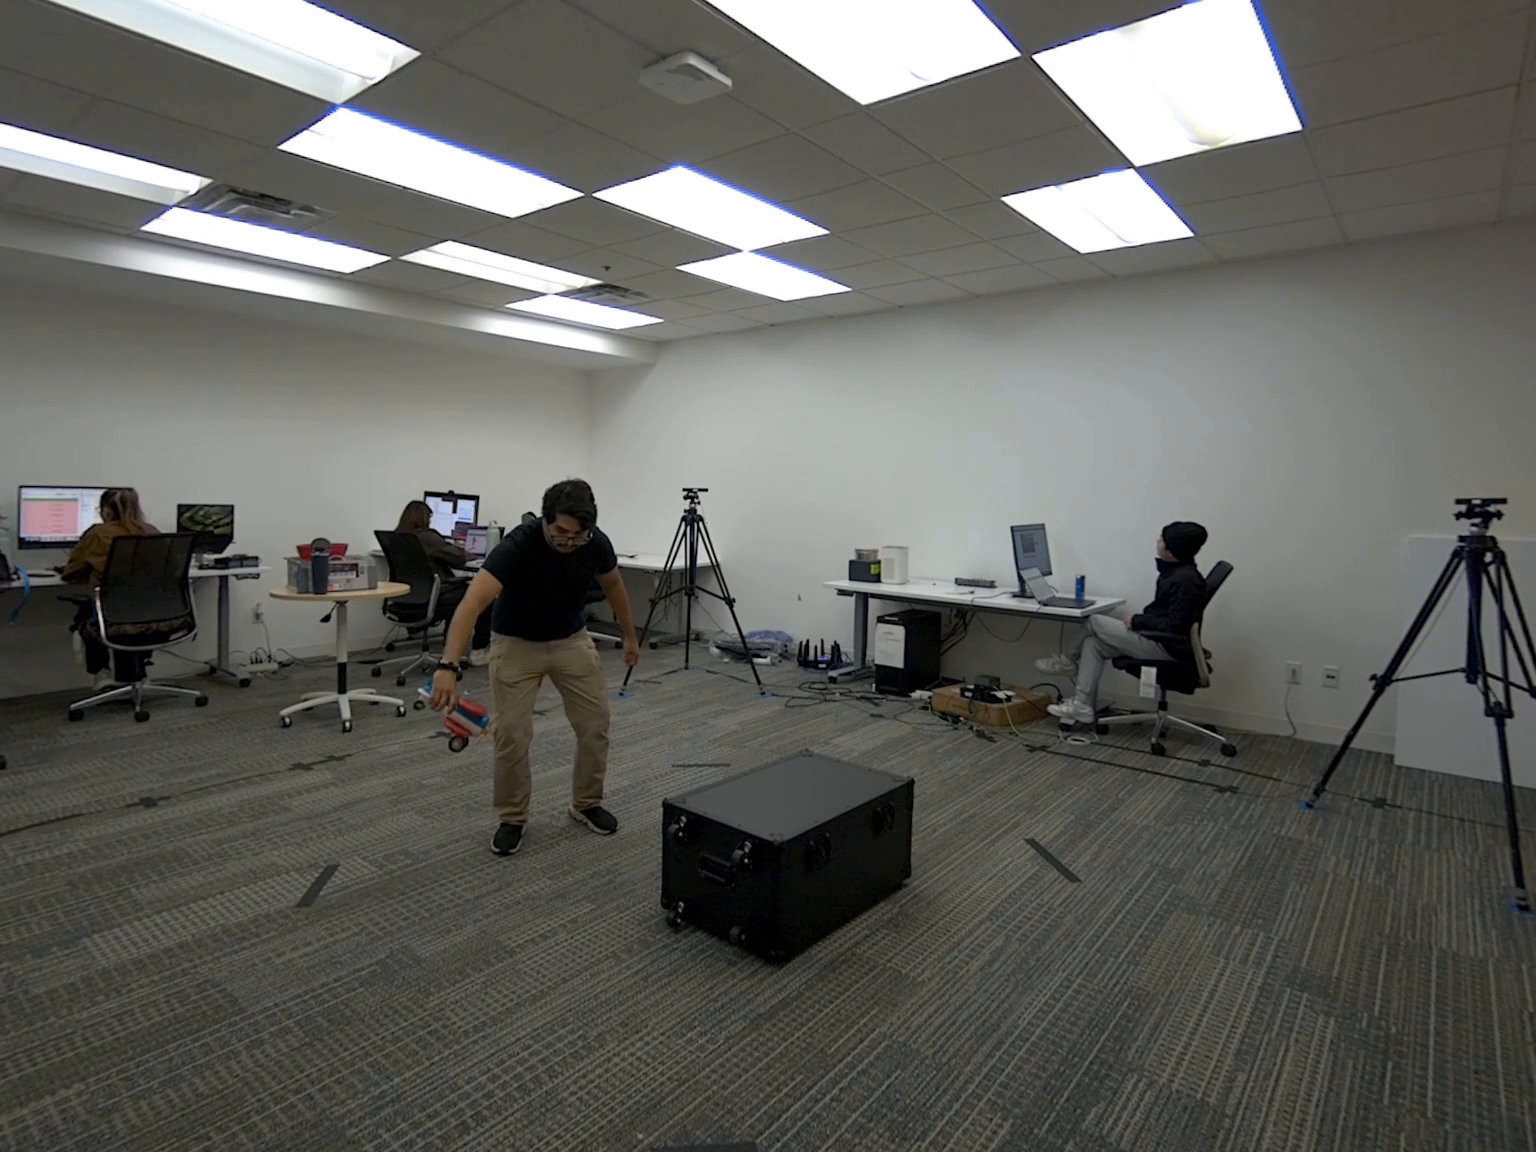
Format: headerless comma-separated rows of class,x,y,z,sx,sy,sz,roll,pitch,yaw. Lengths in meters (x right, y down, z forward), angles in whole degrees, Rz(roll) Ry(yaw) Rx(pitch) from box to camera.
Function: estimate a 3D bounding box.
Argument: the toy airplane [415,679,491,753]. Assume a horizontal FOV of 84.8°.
toy airplane,-1.044,0.440,2.767,0.156,0.250,0.260,-43,30,-13
